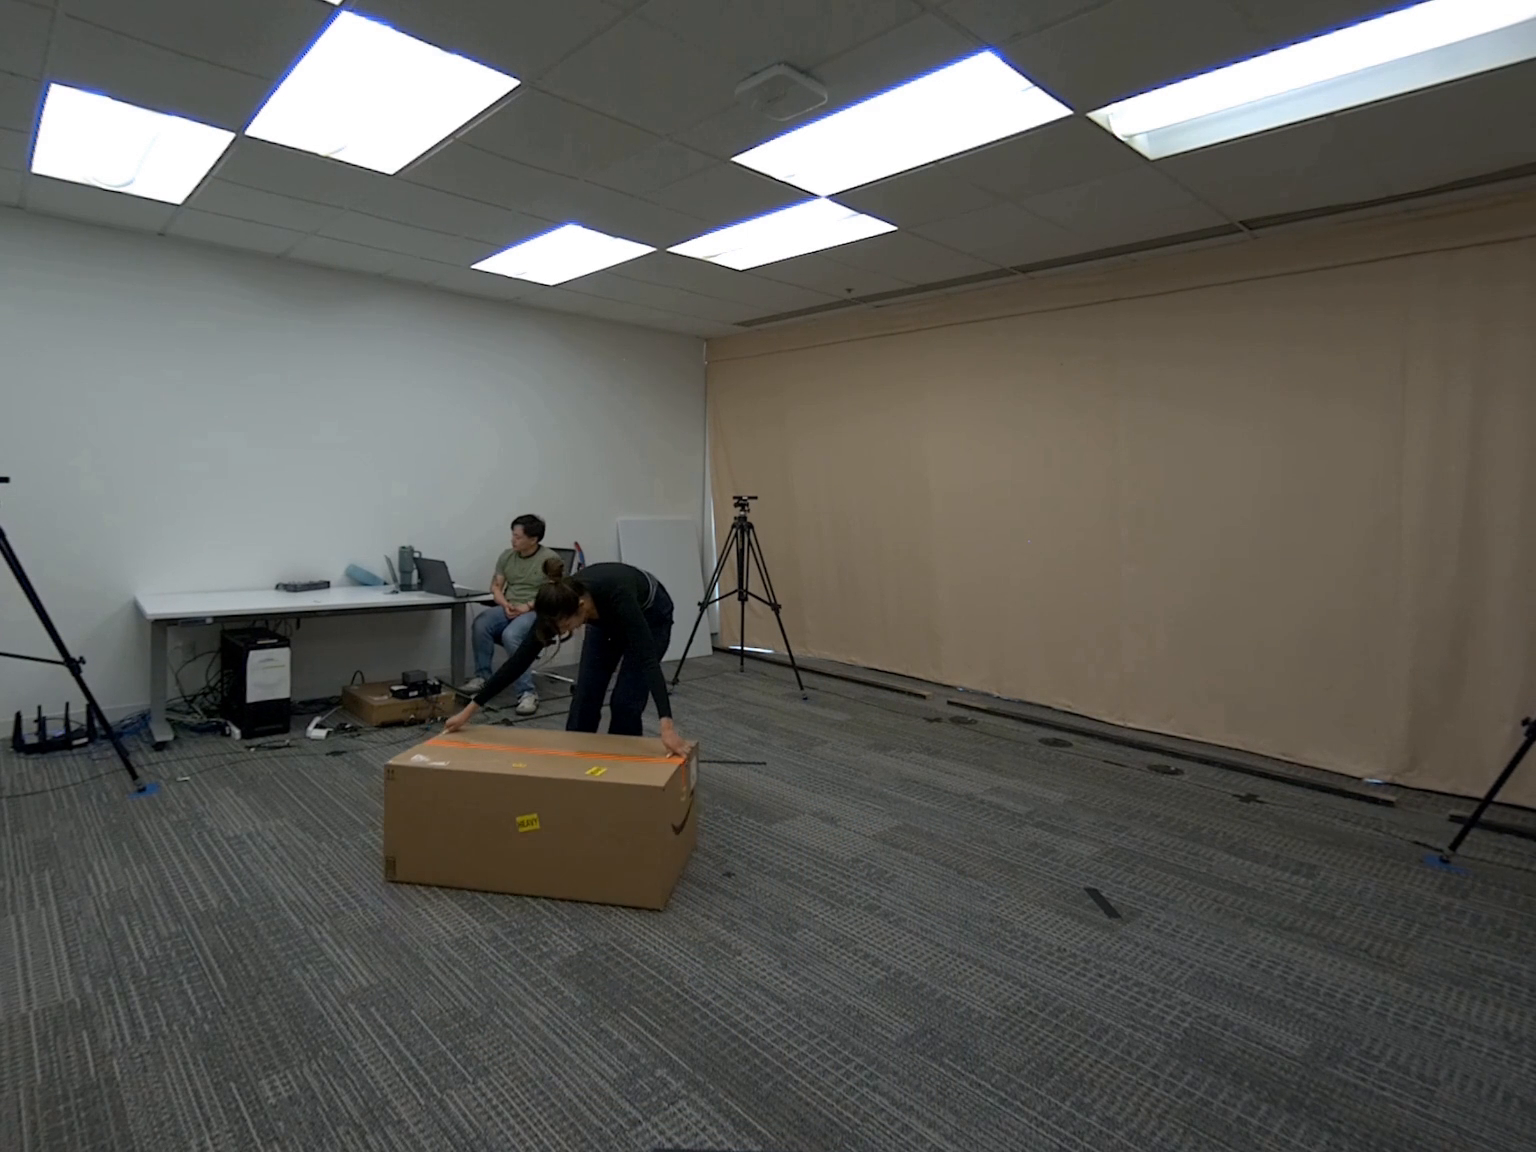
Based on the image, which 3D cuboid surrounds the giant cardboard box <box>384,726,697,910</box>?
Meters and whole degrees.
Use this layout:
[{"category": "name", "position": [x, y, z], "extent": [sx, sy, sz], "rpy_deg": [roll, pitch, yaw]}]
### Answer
[{"category": "giant cardboard box", "position": [-0.821, 0.863, 3.168], "extent": [1.034, 0.425, 0.574], "rpy_deg": [3, 4, 9]}]
